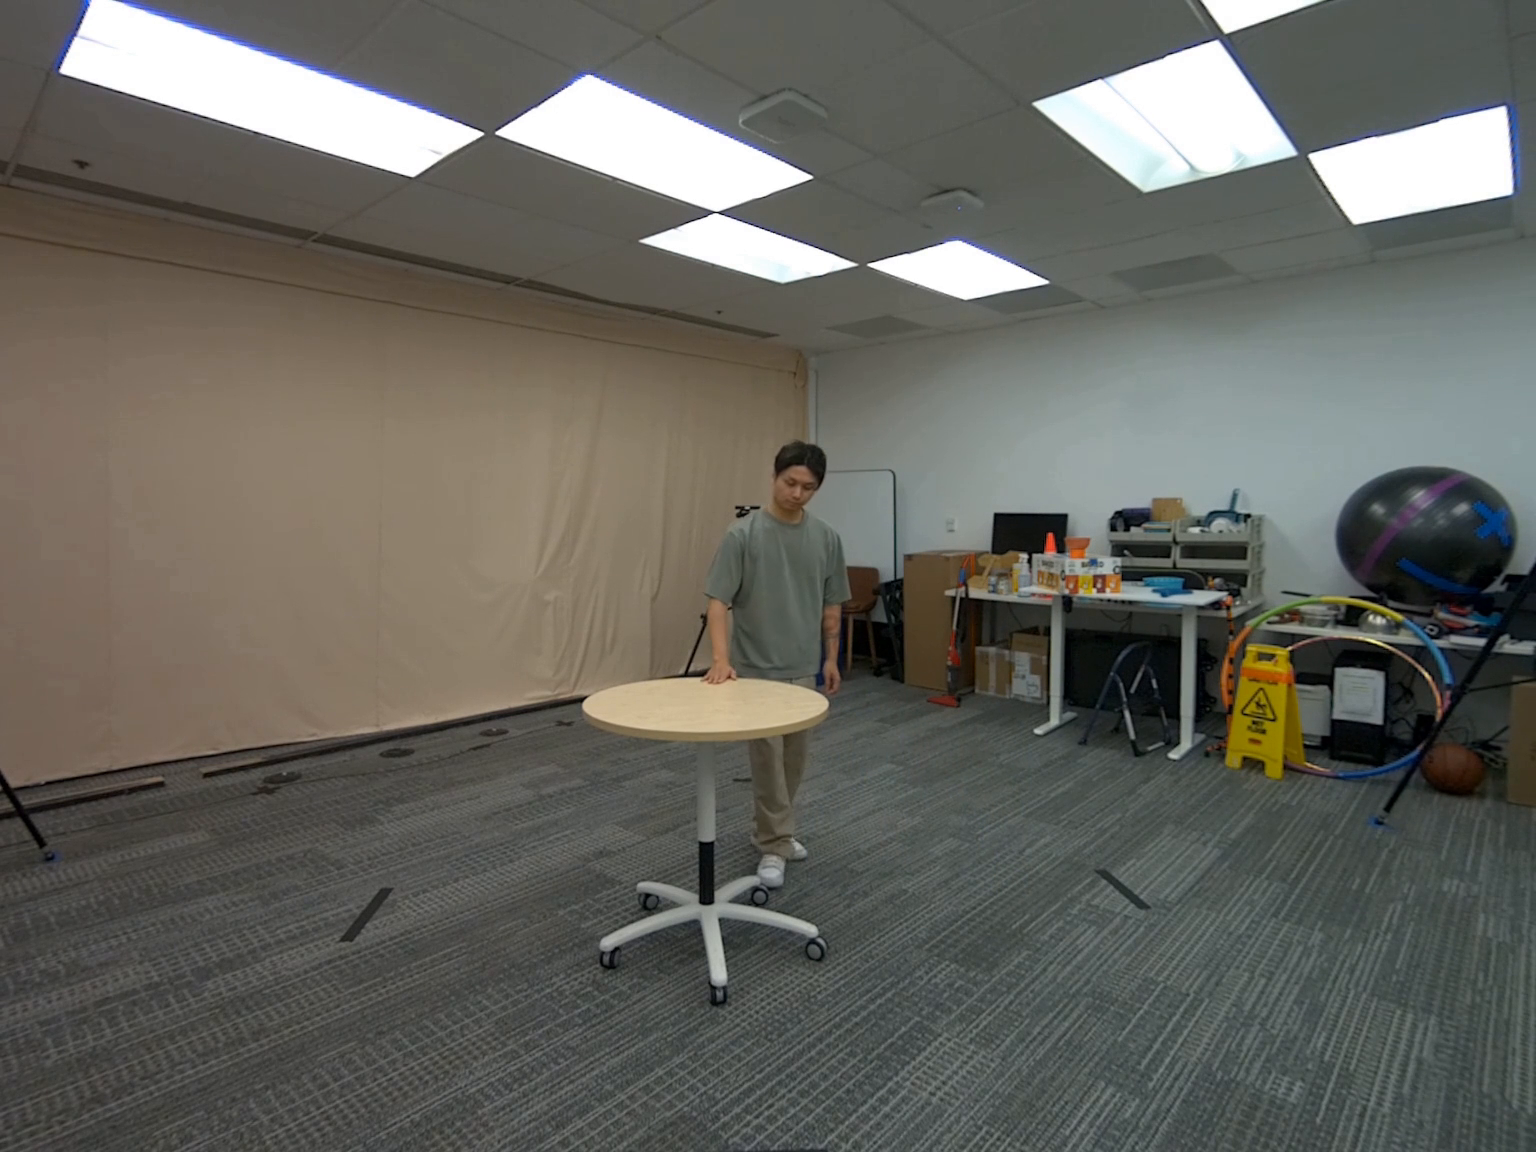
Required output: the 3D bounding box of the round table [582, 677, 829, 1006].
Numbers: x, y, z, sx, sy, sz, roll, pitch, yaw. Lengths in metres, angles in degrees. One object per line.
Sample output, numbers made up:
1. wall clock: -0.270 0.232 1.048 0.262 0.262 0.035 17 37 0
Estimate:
1. round table: -0.195 0.786 2.646 0.763 0.792 0.766 -1 3 -2
